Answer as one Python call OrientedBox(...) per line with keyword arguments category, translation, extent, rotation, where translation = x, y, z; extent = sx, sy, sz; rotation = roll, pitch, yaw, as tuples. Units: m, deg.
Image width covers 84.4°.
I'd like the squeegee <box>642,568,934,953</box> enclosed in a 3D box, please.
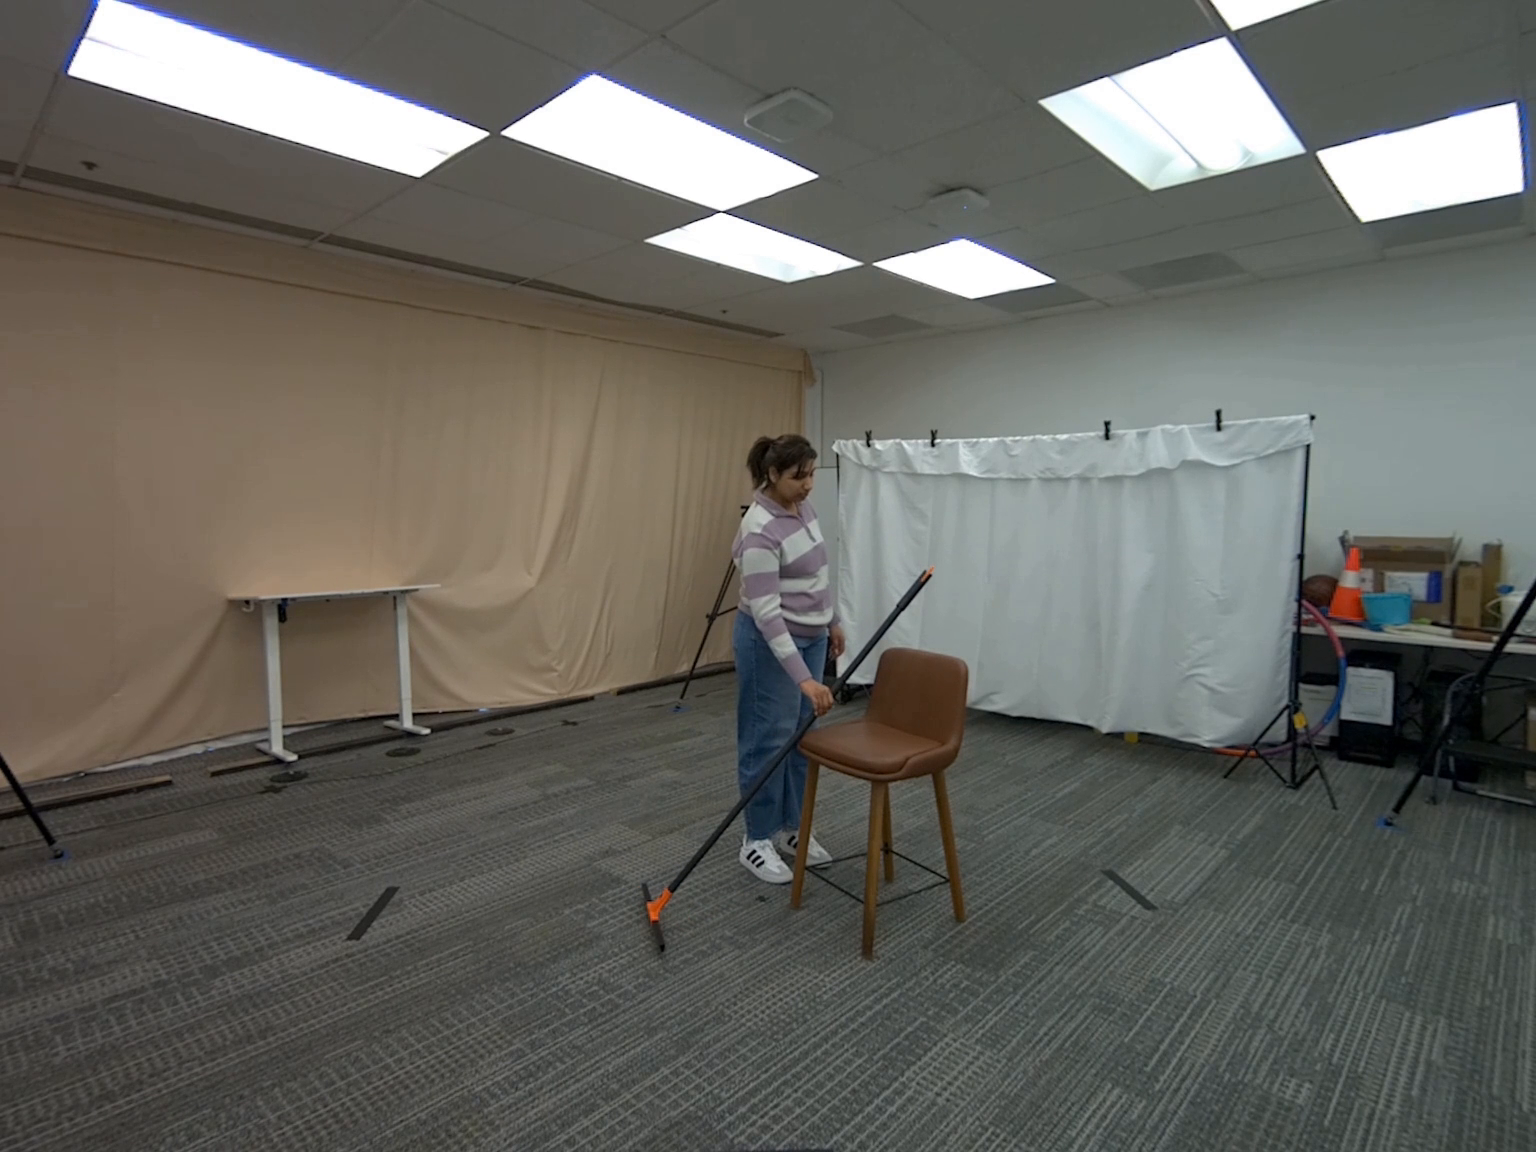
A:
OrientedBox(category="squeegee", translation=(0.083, 0.560, 2.854), extent=(0.052, 1.535, 0.445), rotation=(42, -5, -15))
